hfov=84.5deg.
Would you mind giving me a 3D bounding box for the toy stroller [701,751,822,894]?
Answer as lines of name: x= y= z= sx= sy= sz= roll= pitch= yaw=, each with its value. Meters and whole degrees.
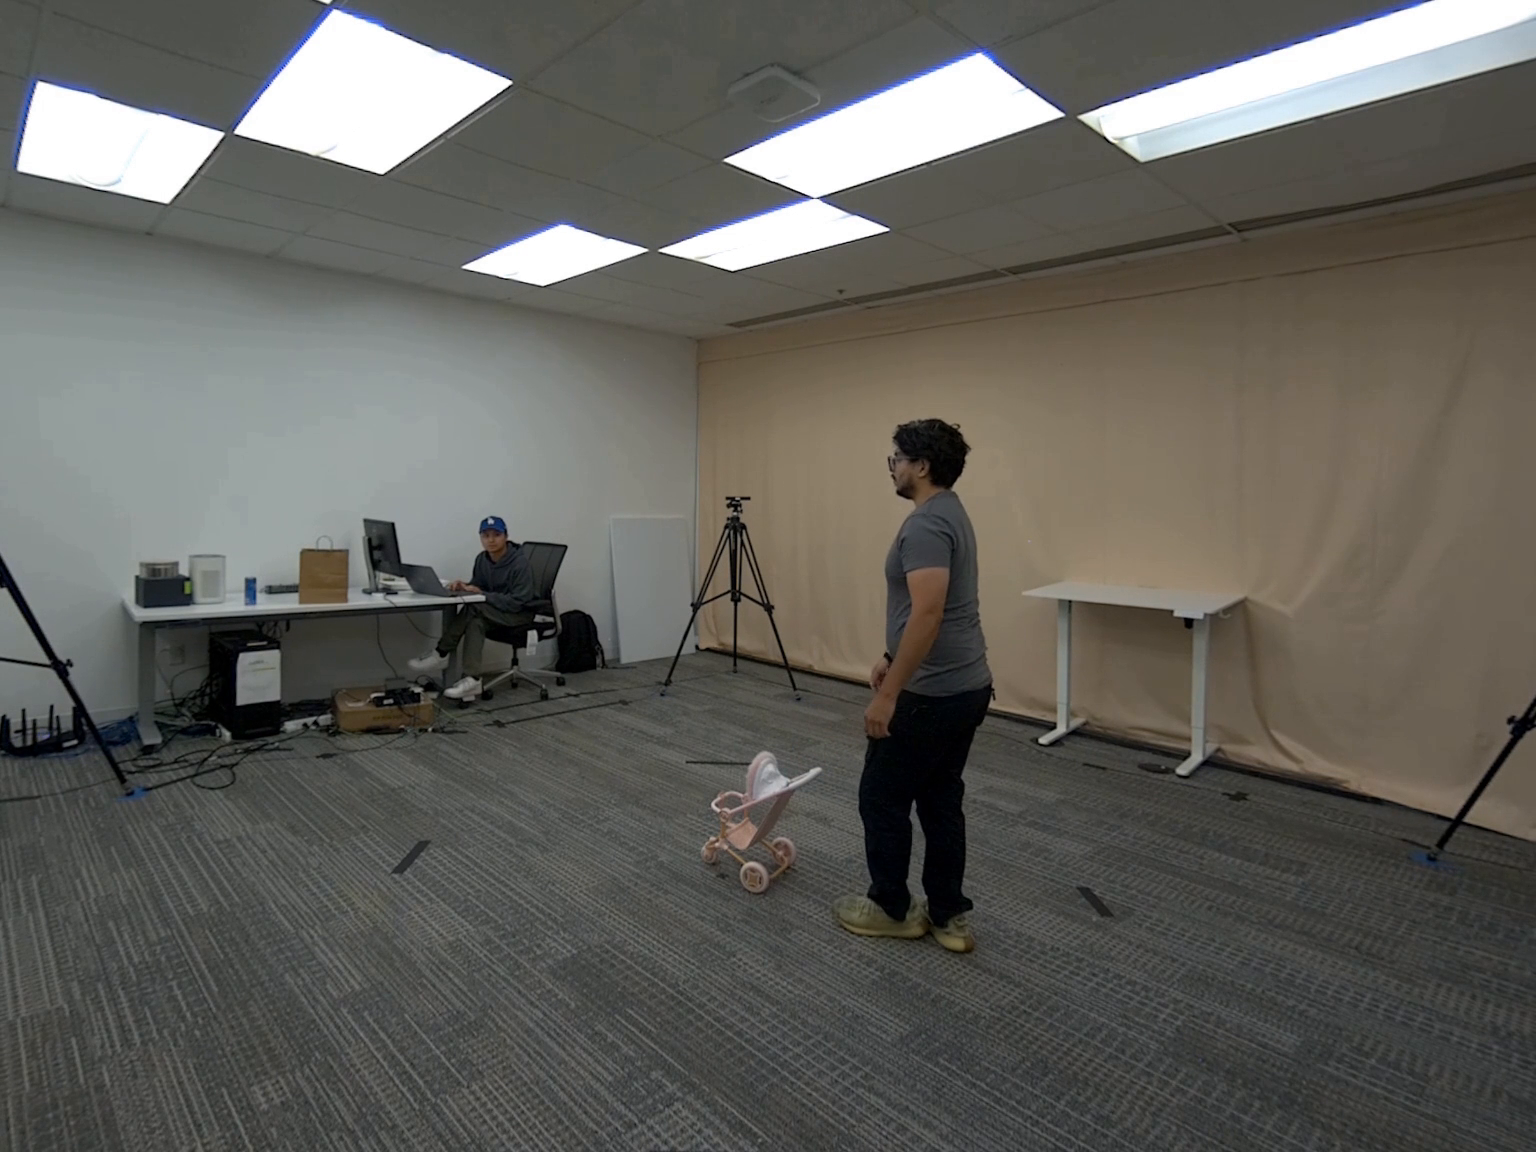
toy stroller: x=-0.053 y=0.884 z=3.106 sx=0.350 sy=0.532 sz=0.276 roll=23 pitch=14 yaw=29
